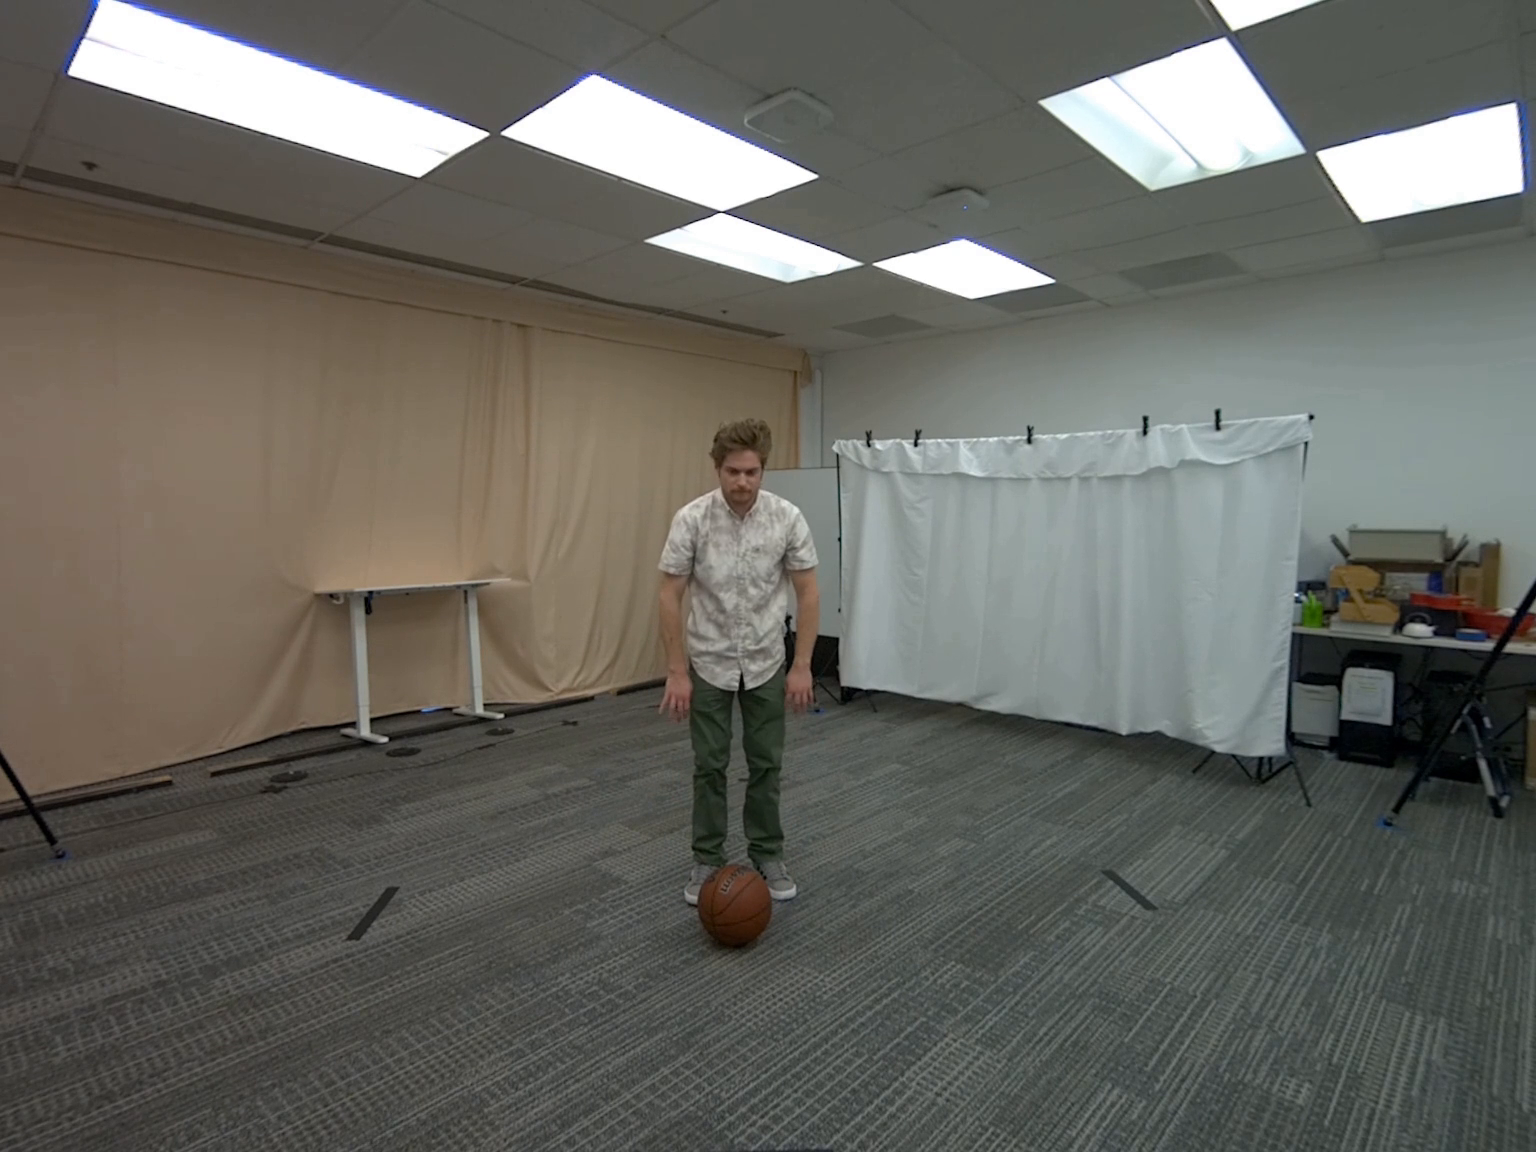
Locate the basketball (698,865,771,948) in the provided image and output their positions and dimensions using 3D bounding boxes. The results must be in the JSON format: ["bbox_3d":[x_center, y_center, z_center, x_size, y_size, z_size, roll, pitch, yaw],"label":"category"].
[{"bbox_3d":[-0.103,1.041,2.696,0.236,0.235,0.237,0,4,-2],"label":"basketball"}]
